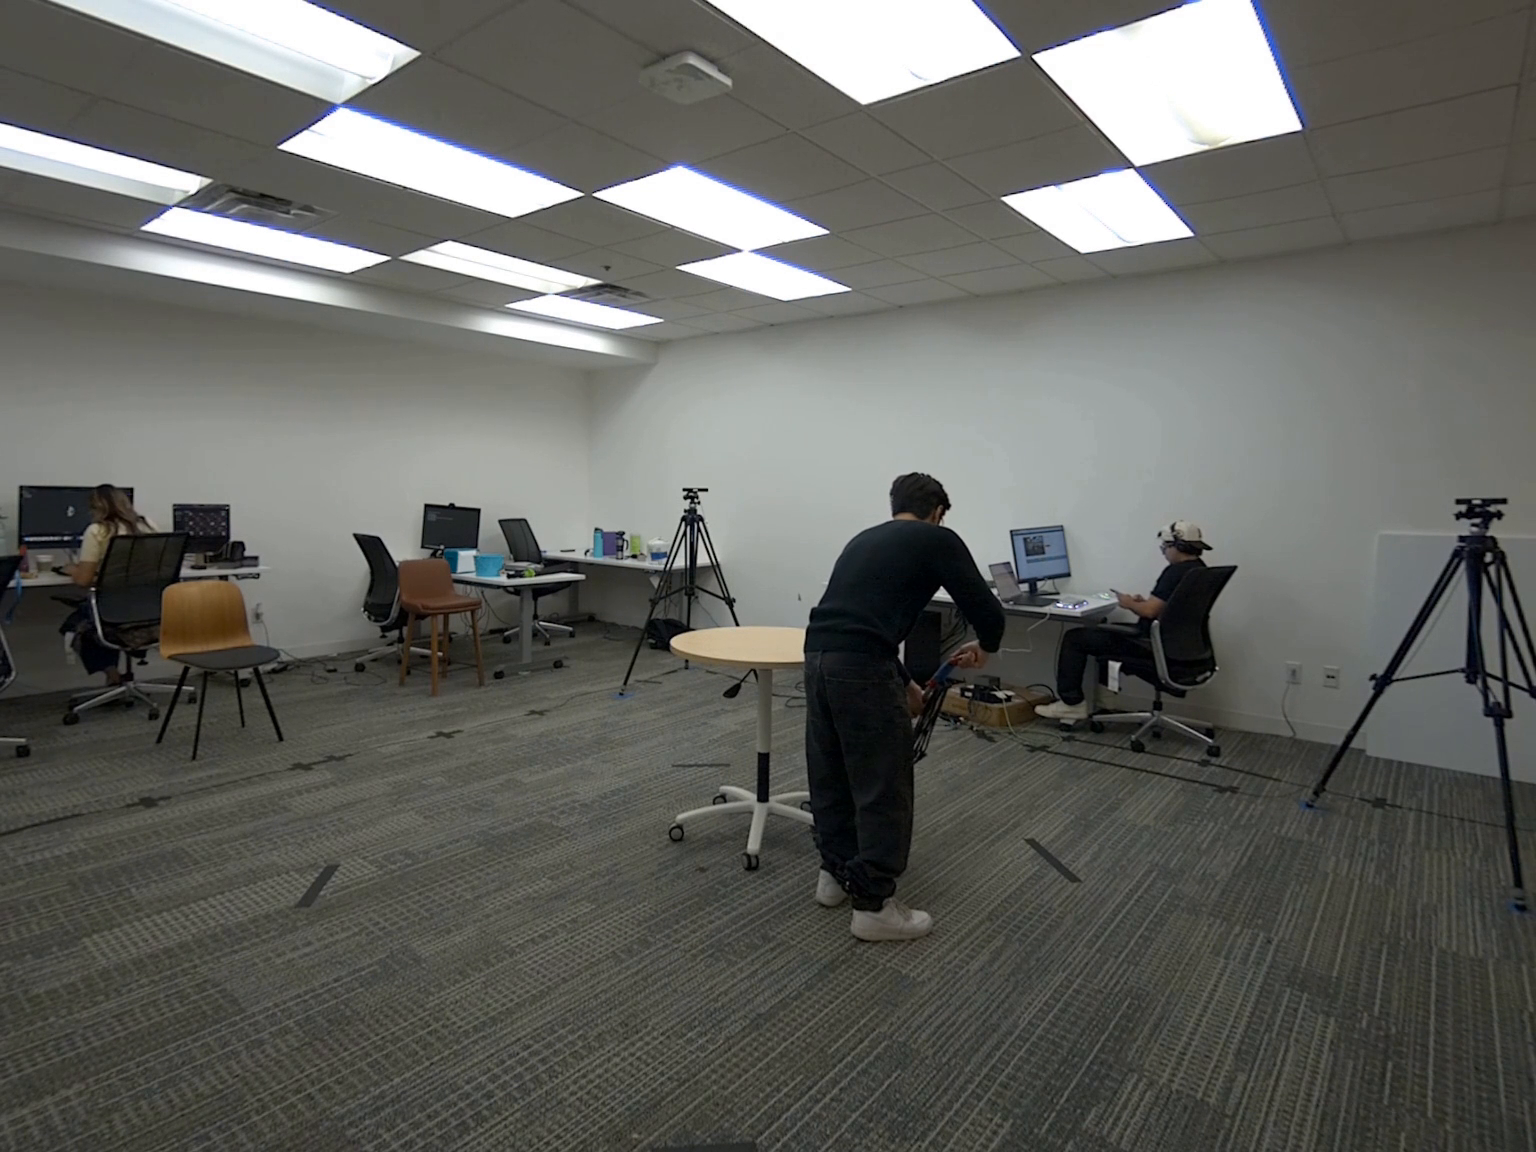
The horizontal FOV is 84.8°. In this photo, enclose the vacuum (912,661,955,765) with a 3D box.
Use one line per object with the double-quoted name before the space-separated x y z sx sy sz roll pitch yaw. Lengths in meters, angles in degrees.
"vacuum" 0.495 0.633 3.187 0.245 1.037 0.150 -1 44 -33
